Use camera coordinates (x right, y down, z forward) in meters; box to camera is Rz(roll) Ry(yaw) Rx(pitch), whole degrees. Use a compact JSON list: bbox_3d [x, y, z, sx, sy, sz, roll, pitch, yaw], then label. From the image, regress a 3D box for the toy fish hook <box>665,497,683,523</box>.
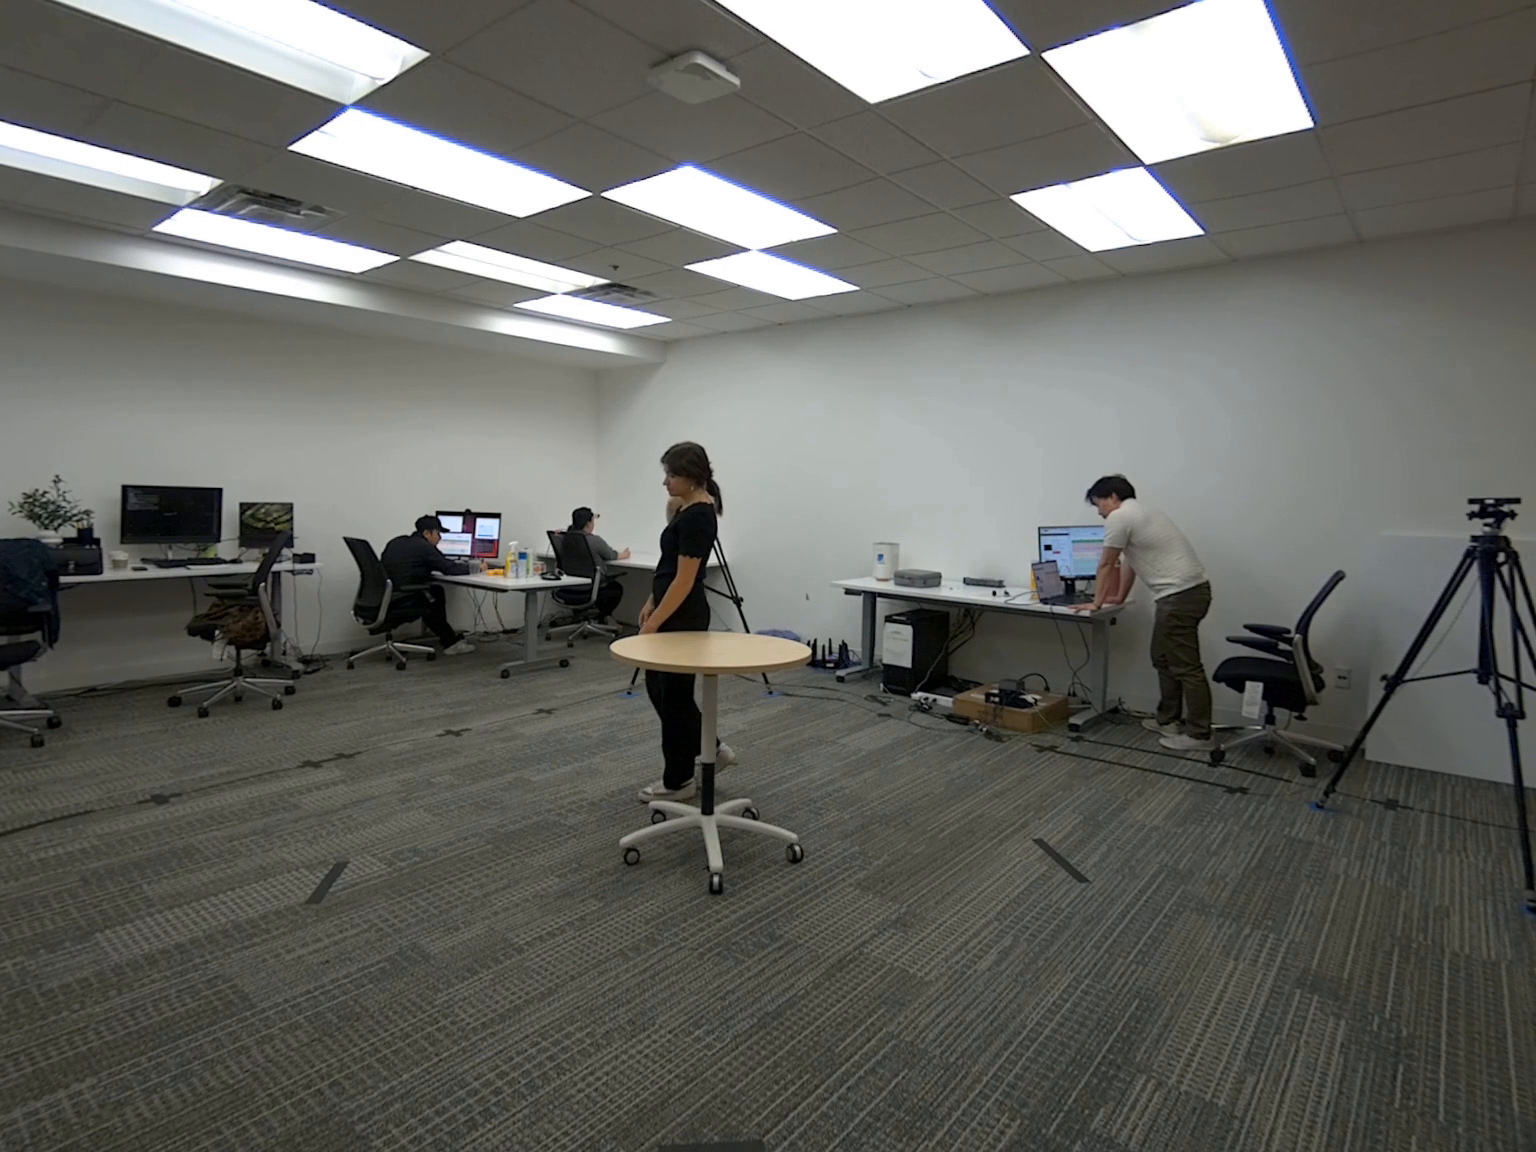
[{"bbox_3d":[-0.360,-0.161,3.896,0.224,0.500,0.049,-3,12,0],"label":"toy fish hook"}]
